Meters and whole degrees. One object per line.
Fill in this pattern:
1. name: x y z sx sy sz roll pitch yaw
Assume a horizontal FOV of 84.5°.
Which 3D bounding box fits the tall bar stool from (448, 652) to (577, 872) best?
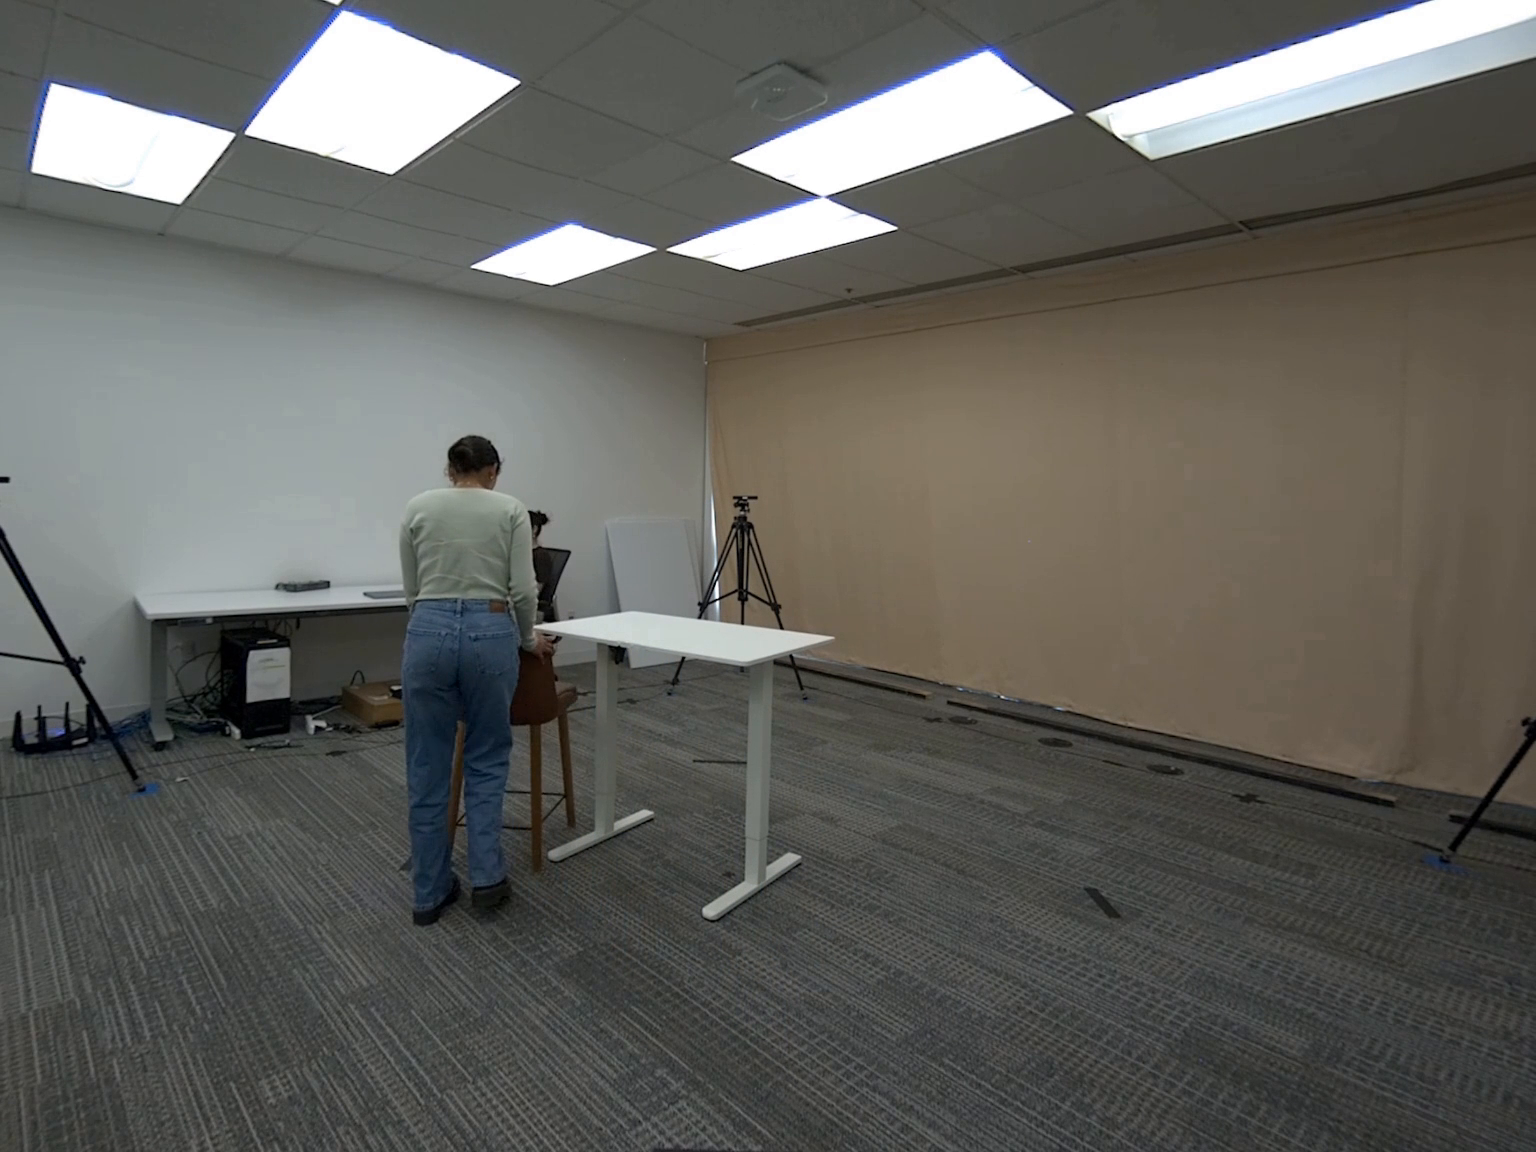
1. tall bar stool: -1.017 0.632 3.305 0.458 0.886 0.468 0 6 4
